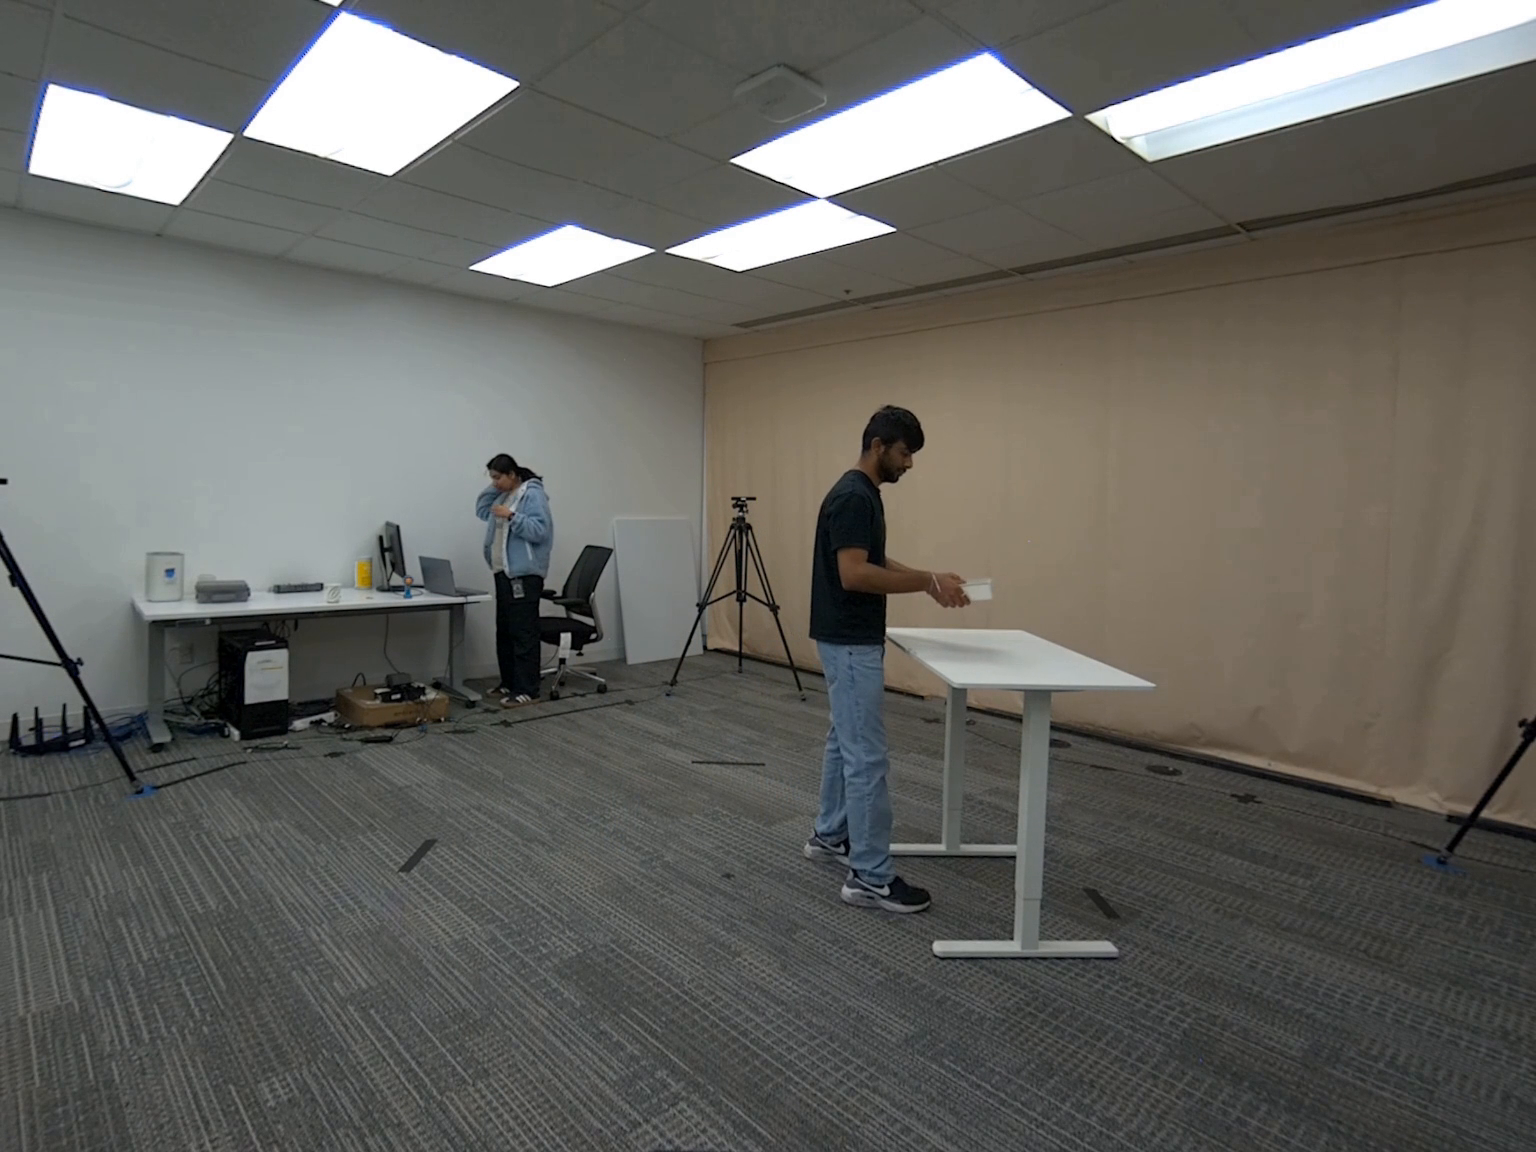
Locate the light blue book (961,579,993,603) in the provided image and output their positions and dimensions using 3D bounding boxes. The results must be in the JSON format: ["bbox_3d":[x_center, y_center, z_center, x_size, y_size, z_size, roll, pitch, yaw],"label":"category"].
[{"bbox_3d":[0.672,0.048,2.911,0.193,0.059,0.258,-4,2,13],"label":"light blue book"}]
